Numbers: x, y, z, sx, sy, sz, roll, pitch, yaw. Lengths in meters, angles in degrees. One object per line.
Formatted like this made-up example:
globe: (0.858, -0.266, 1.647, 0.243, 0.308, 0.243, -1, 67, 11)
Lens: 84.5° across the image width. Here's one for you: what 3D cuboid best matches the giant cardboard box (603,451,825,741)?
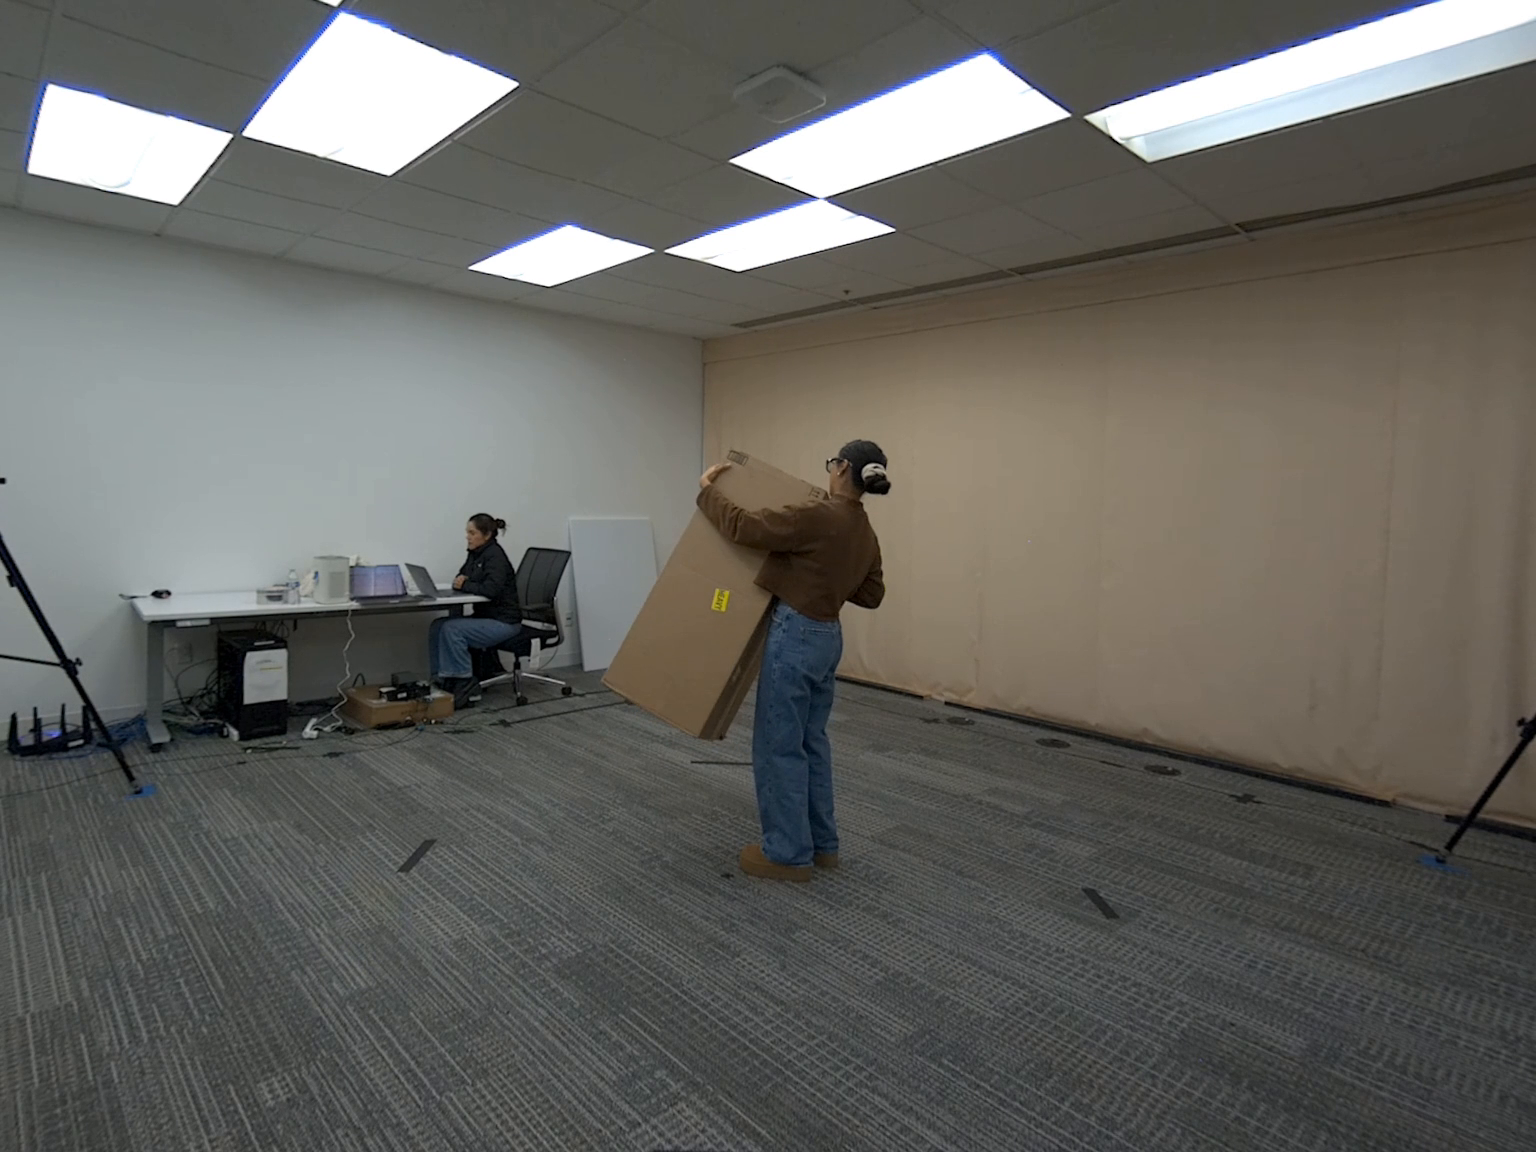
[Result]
giant cardboard box: (-0.170, 0.098, 3.389, 0.433, 1.028, 0.568, 27, -8, 13)
